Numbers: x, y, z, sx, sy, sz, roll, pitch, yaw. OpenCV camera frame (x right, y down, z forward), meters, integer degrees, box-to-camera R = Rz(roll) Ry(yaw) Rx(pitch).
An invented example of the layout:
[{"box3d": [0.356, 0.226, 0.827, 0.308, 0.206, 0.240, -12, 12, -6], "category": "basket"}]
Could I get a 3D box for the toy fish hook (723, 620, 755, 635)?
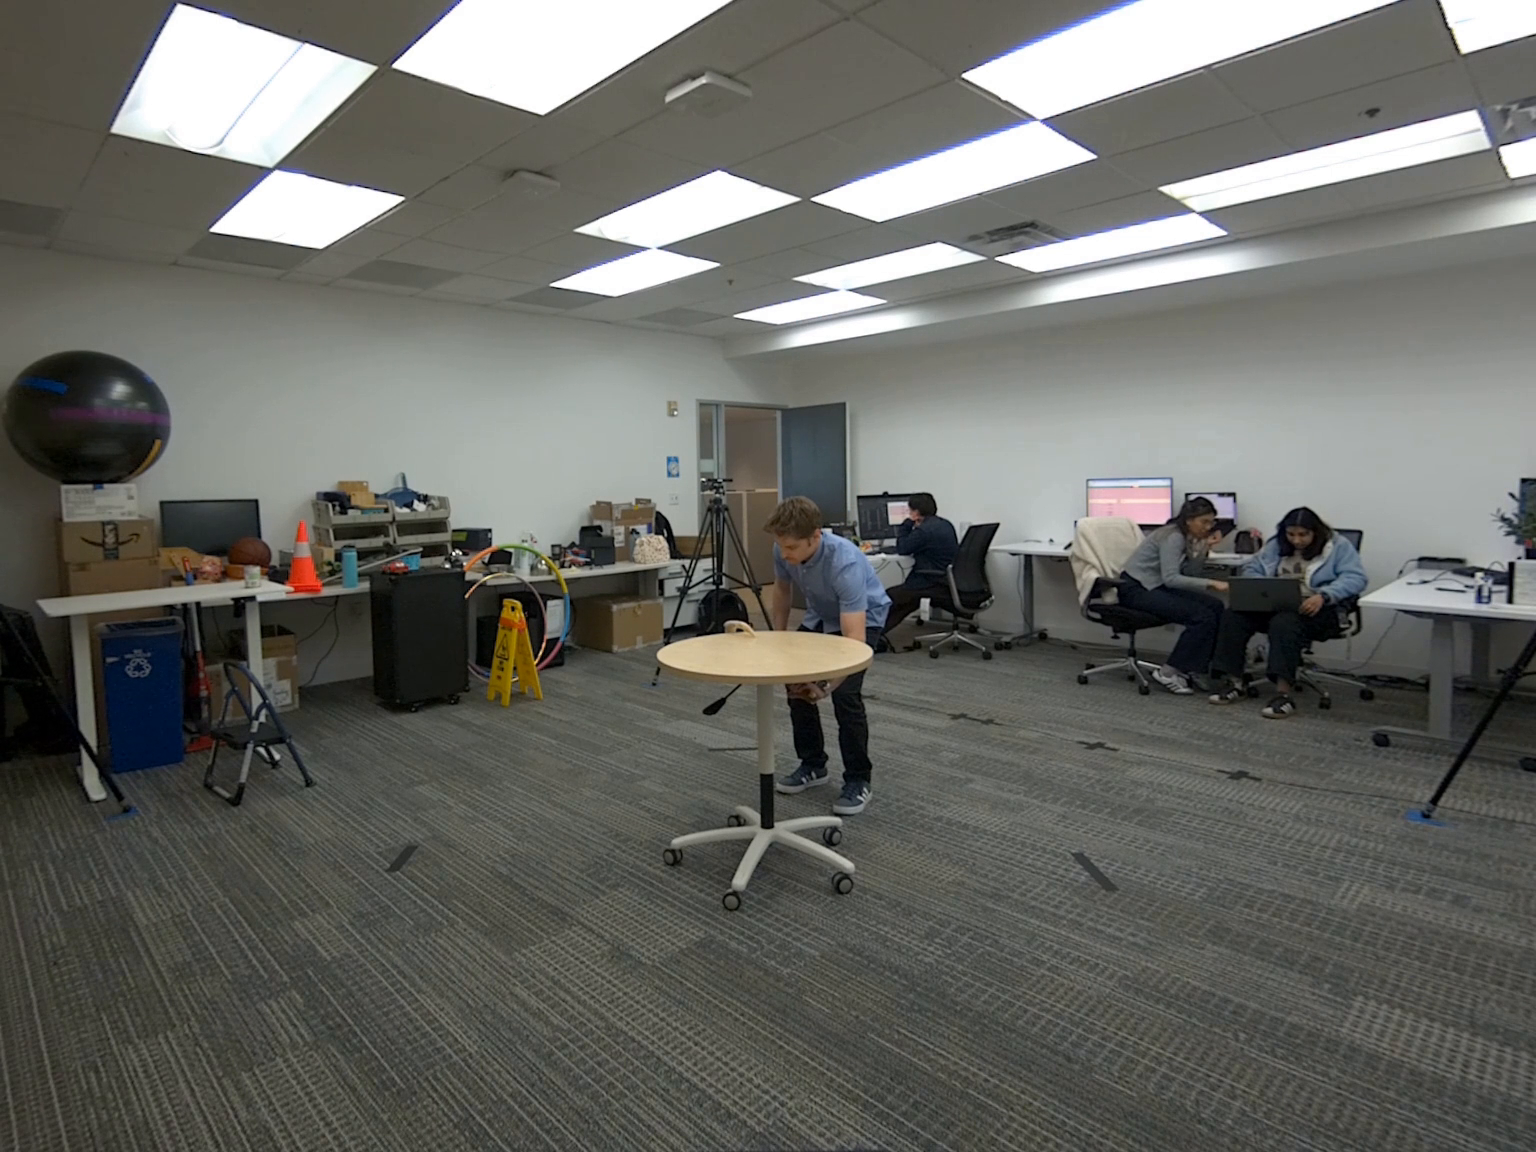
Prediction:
[{"box3d": [-0.002, 0.328, 3.309, 0.048, 0.218, 0.526, -32, 39, -28], "category": "toy fish hook"}]
